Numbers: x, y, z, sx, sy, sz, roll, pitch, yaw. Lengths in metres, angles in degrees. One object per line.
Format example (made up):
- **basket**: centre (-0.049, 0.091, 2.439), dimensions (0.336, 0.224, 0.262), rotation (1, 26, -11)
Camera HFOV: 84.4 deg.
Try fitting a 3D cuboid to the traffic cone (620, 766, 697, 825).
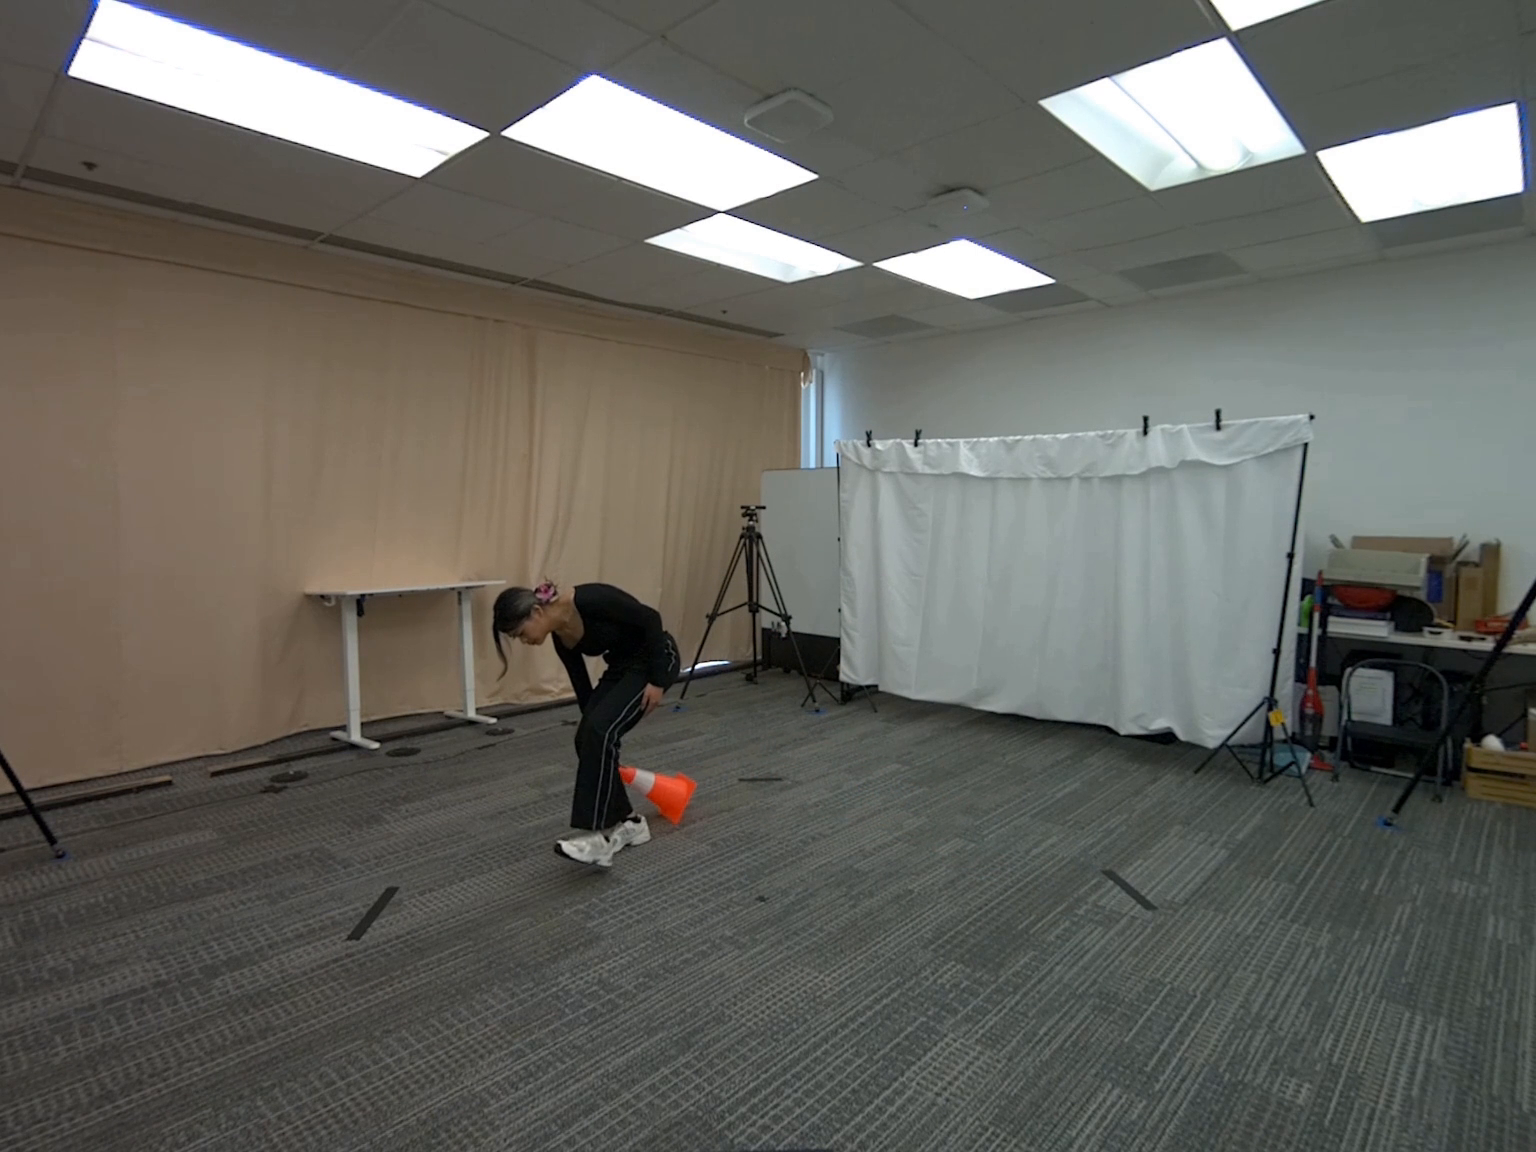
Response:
- **traffic cone**: centre (-0.545, 0.906, 3.714), dimensions (0.375, 0.203, 0.209), rotation (32, -14, -20)
